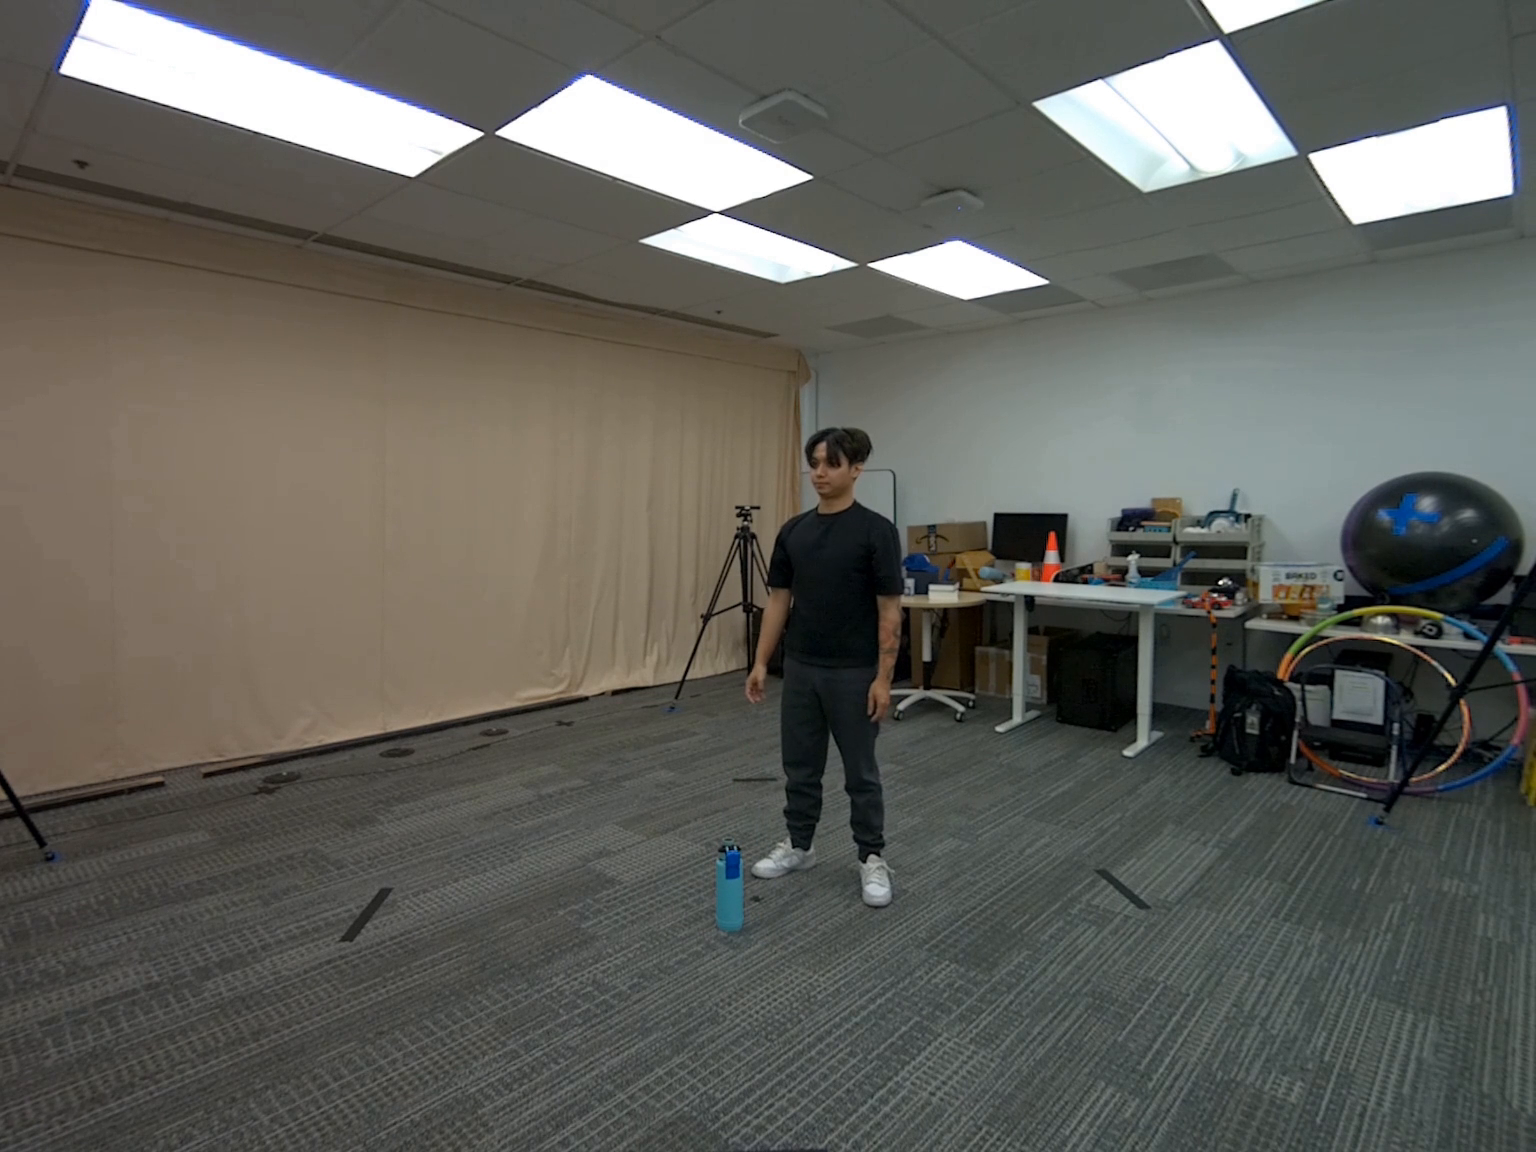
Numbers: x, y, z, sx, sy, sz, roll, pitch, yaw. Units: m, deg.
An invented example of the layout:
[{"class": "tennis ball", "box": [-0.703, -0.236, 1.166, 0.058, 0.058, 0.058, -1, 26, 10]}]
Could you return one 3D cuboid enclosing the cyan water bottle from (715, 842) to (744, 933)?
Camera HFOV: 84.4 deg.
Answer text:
[{"class": "cyan water bottle", "box": [-0.126, 1.020, 2.784, 0.092, 0.283, 0.092, 0, 3, -2]}]
